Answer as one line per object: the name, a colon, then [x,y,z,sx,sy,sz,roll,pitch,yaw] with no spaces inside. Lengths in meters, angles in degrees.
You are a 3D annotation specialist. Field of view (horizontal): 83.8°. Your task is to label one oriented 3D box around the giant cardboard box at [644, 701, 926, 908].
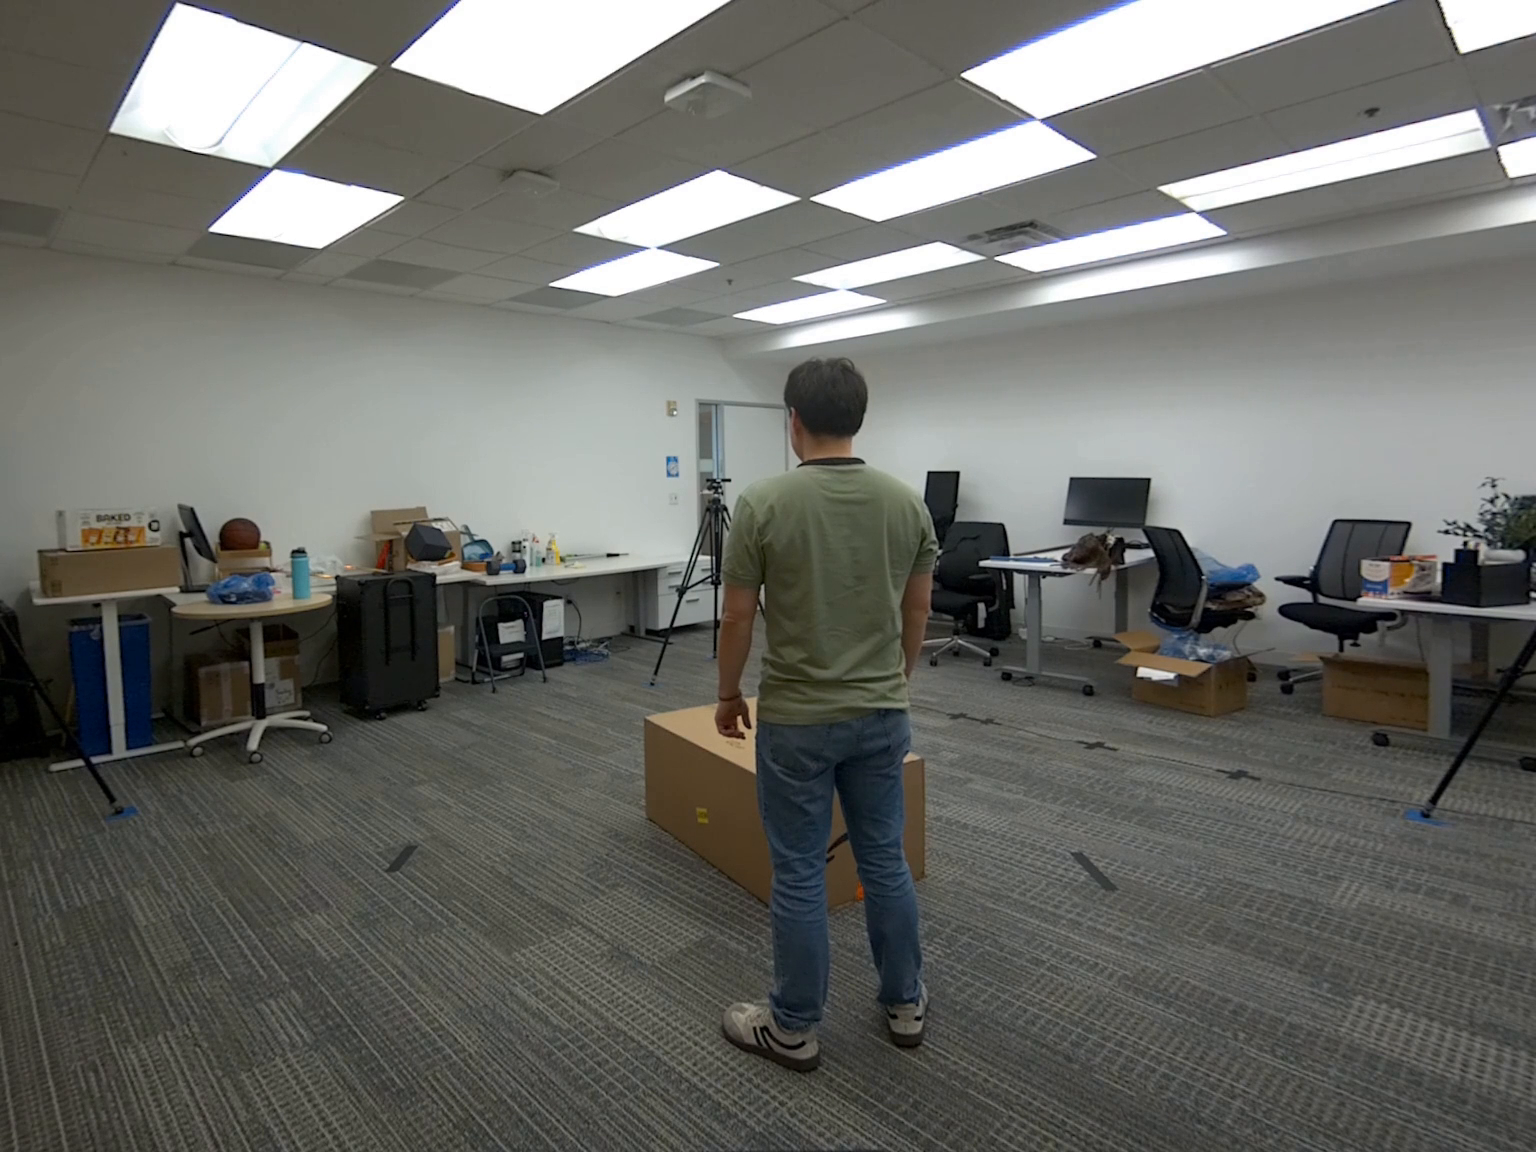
giant cardboard box: [0.017,0.816,3.243,0.563,0.424,1.056,-4,7,-33]
